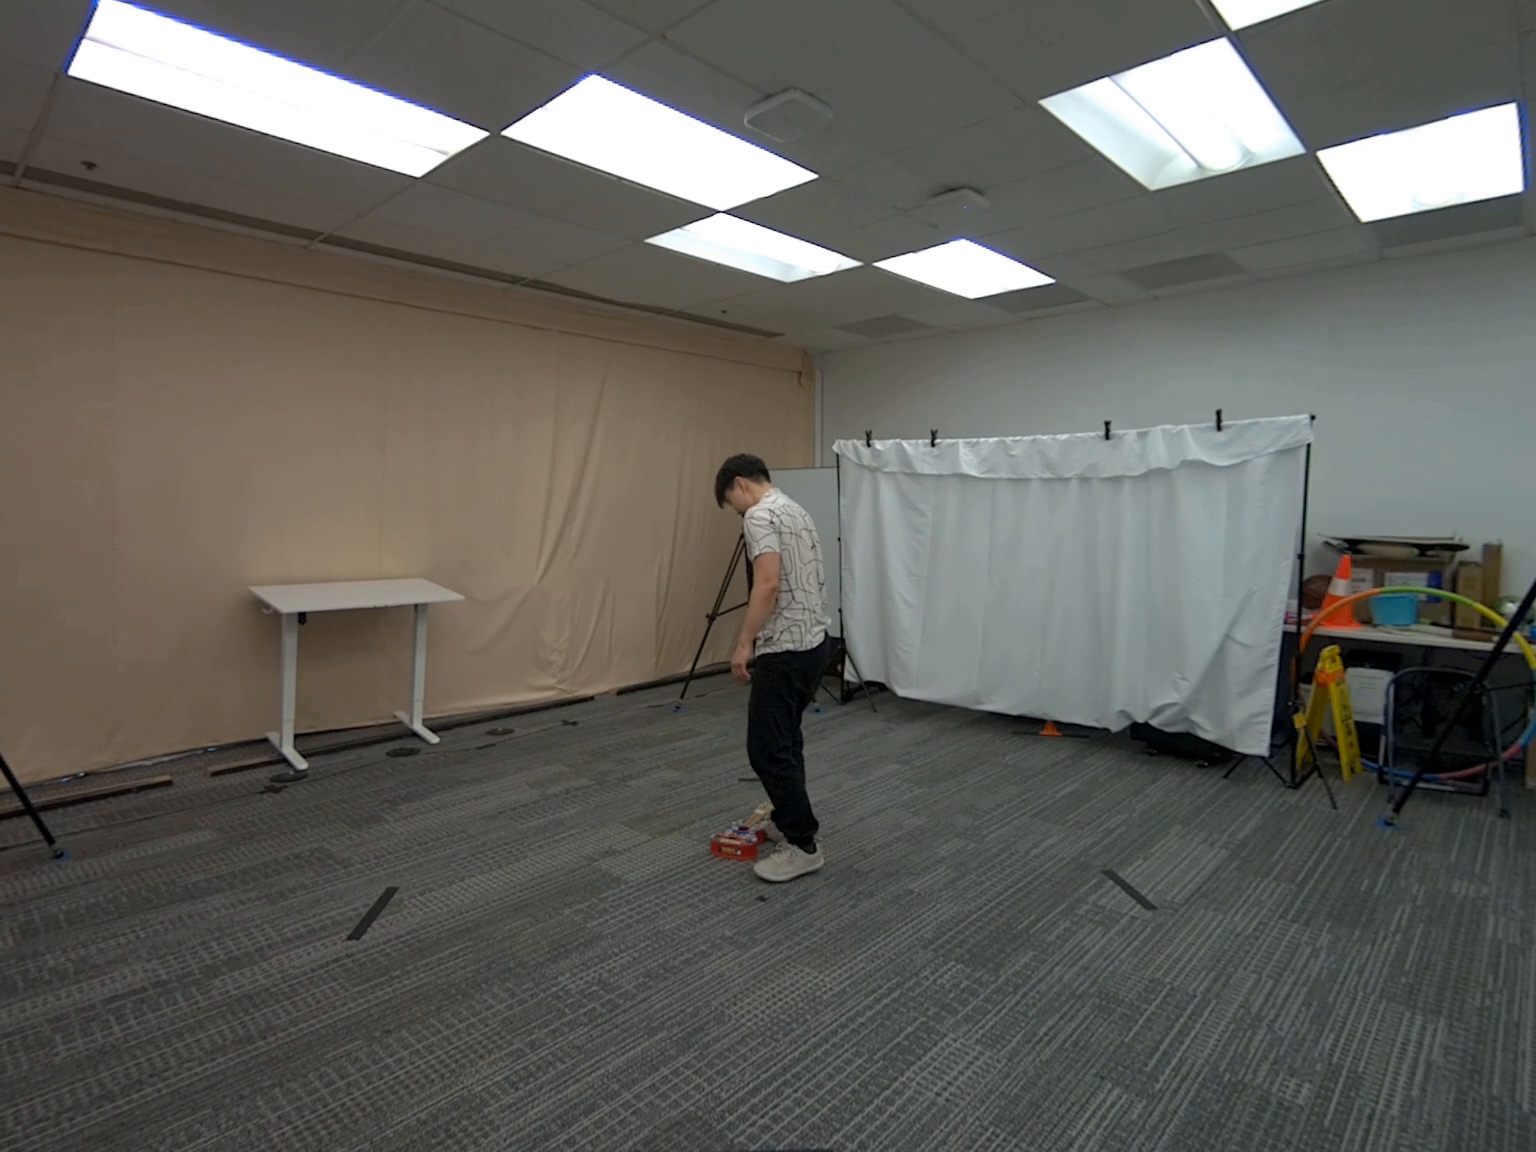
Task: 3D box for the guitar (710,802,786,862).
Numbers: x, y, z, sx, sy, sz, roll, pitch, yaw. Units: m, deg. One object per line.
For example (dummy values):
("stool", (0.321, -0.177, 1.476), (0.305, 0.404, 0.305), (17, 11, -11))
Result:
("guitar", (-0.047, 1.062, 3.531), (0.198, 0.070, 0.485), (2, 5, 30))
